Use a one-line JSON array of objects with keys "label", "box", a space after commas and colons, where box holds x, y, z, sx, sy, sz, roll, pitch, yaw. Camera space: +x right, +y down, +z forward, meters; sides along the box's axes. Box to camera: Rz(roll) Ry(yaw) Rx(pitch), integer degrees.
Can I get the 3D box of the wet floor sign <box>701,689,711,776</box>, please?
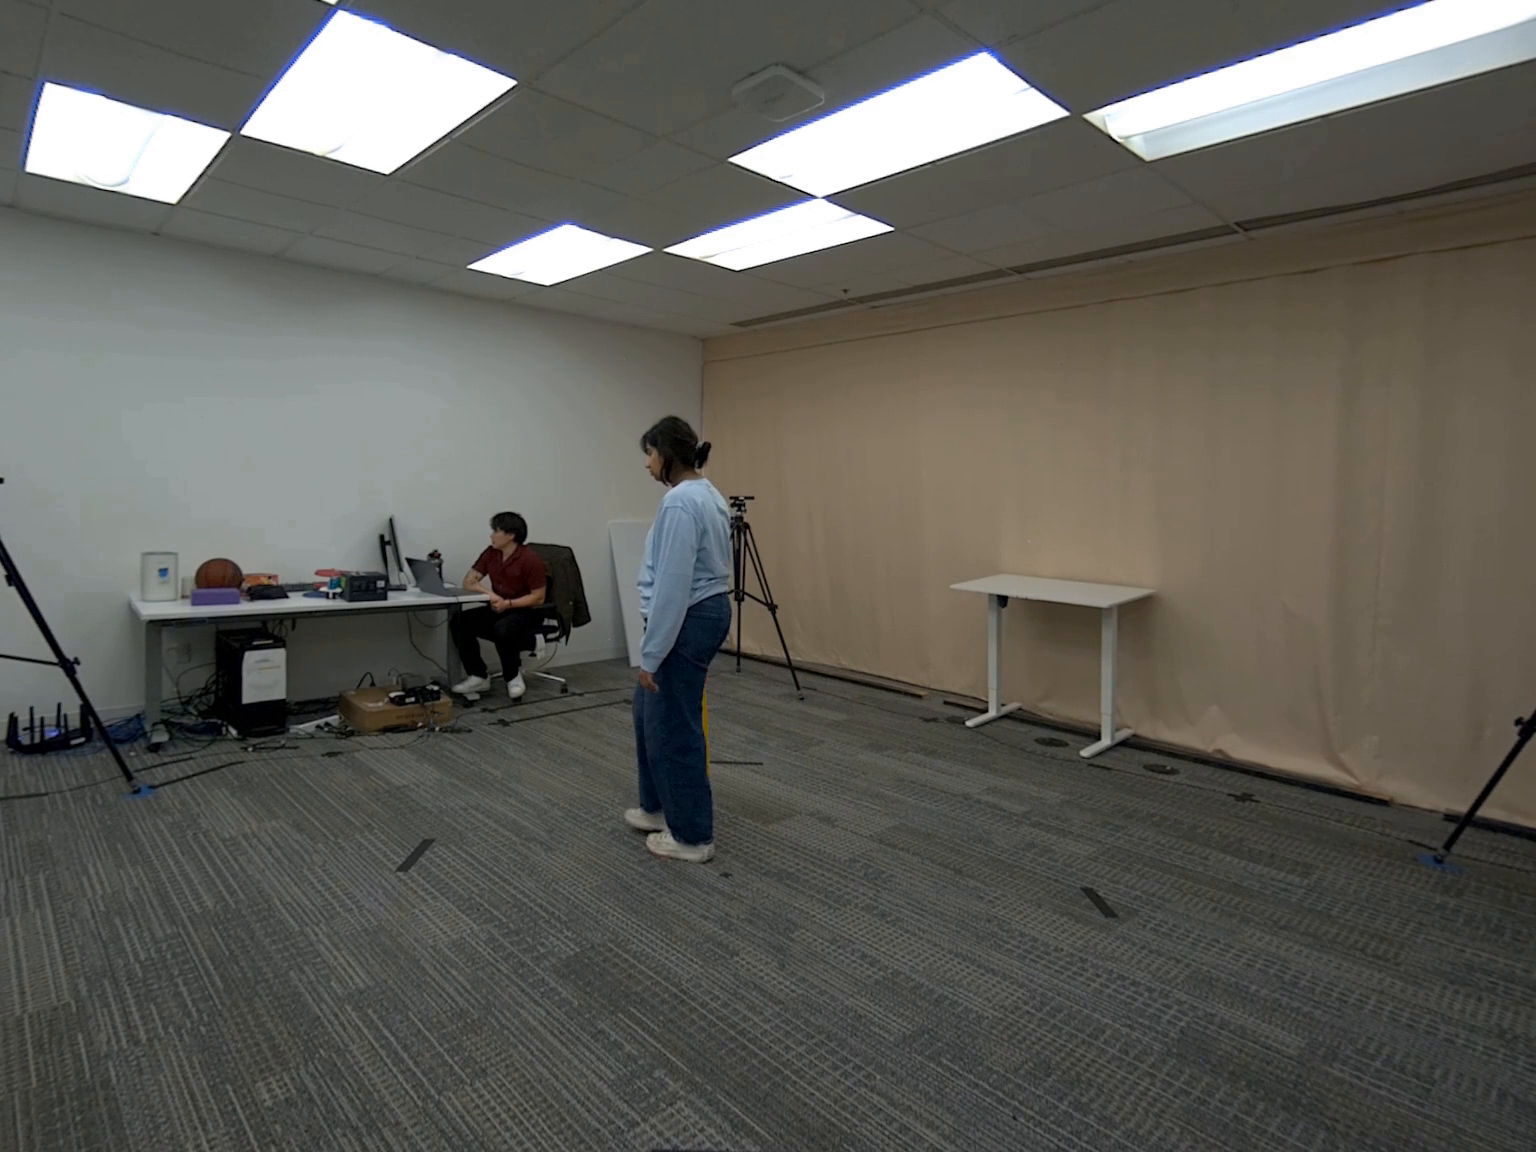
[{"label": "wet floor sign", "box": [-0.400, 0.613, 3.657, 0.283, 0.643, 0.290, 3, 6, 1]}]
